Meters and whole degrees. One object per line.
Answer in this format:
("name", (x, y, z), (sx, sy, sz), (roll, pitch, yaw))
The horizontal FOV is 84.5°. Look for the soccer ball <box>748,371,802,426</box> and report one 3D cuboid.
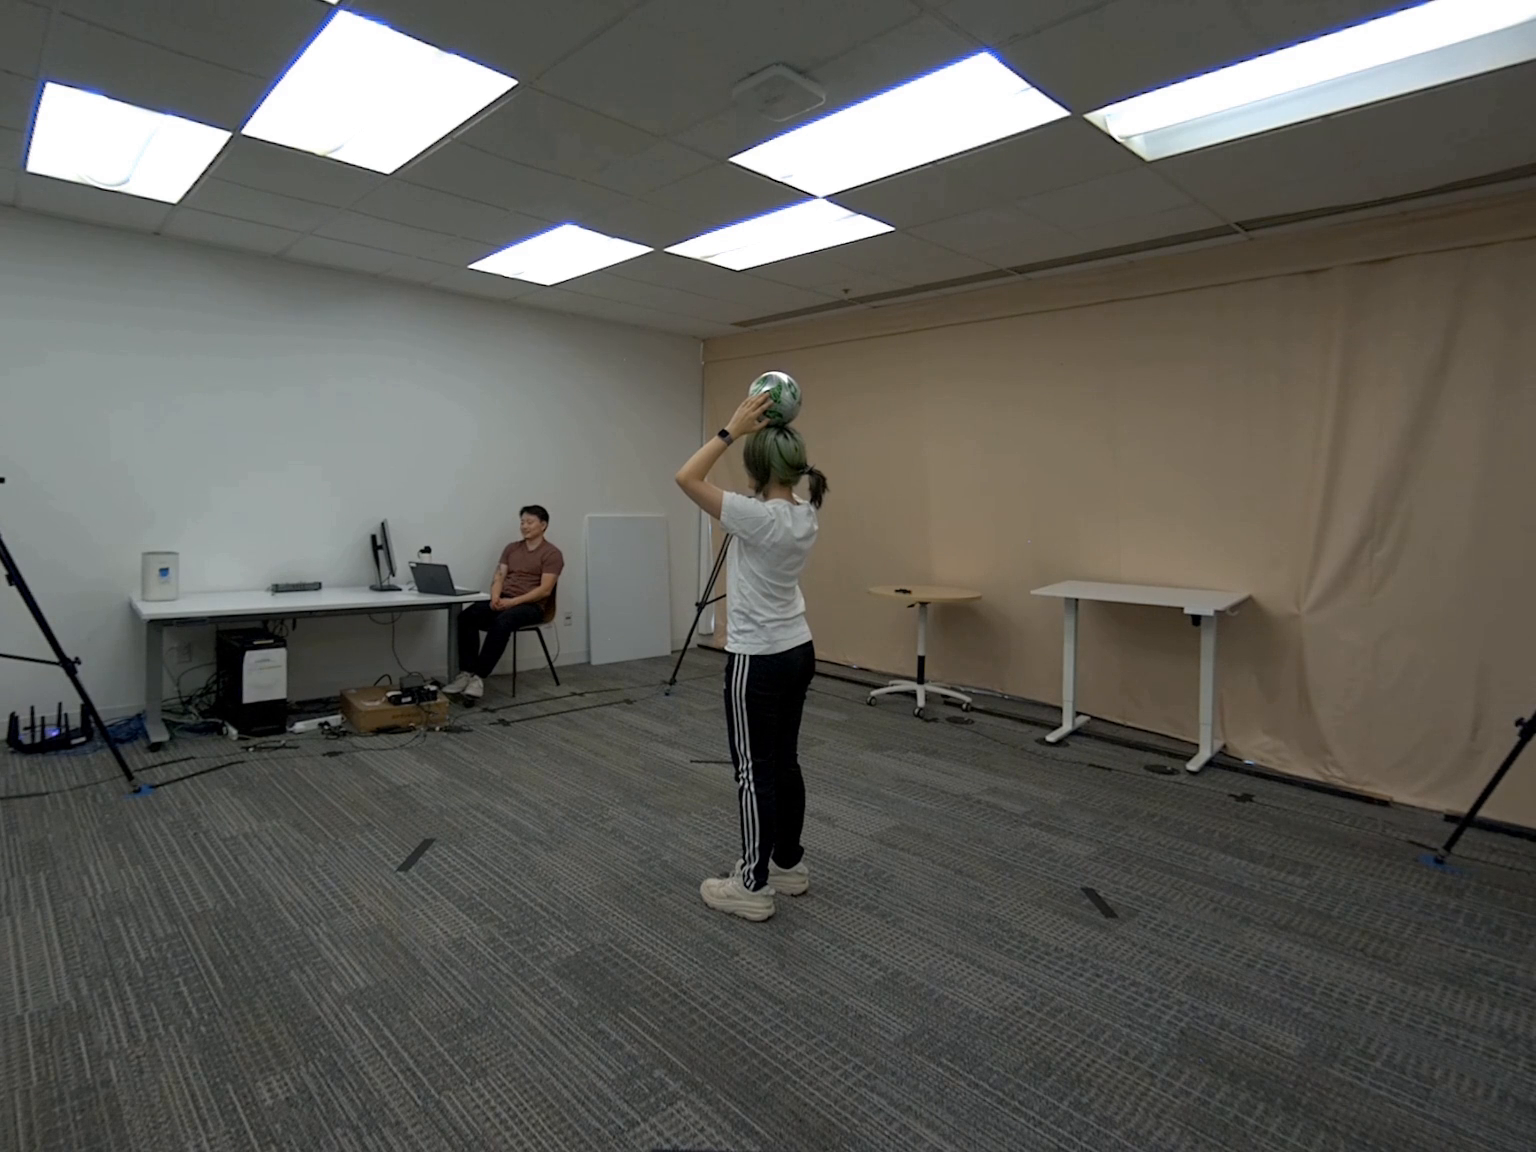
("soccer ball", (0.016, -0.595, 2.835), (0.187, 0.187, 0.188), (1, 4, -1))
